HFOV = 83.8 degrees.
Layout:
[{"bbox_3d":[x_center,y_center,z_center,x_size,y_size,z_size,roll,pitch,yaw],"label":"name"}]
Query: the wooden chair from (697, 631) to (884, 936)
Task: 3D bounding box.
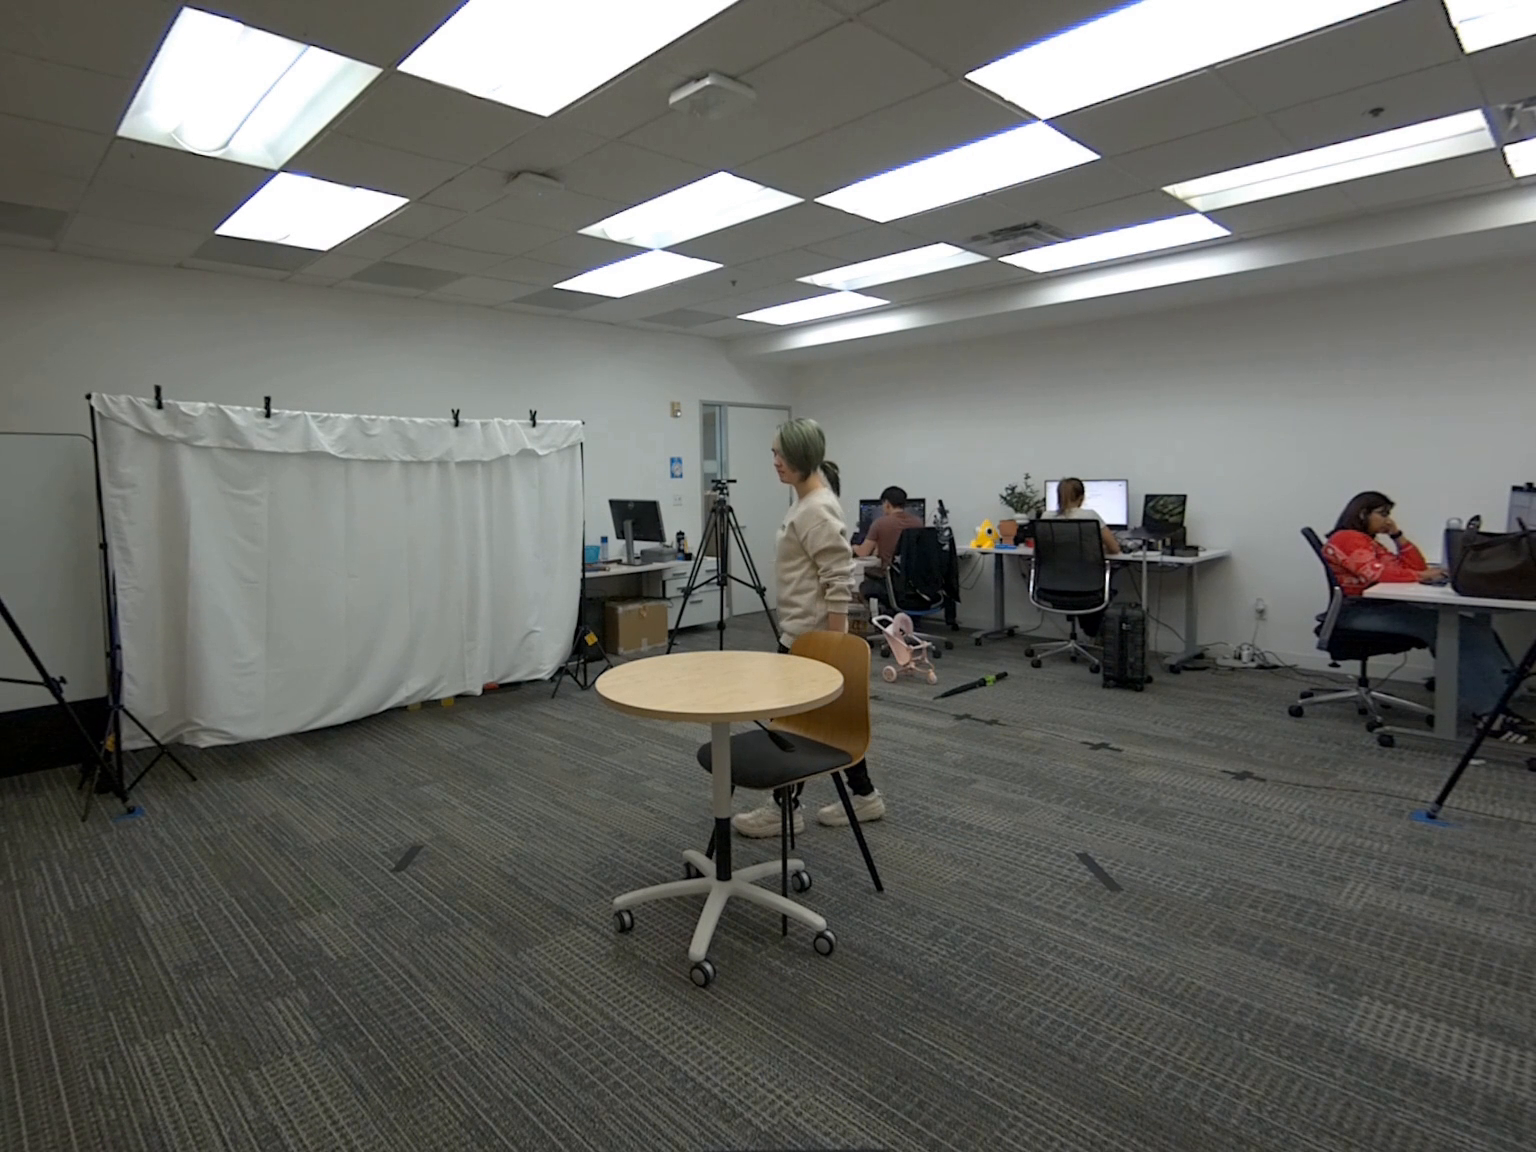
[{"bbox_3d":[0.062,0.644,2.882,0.508,0.876,0.493,1,3,-39],"label":"wooden chair"}]
